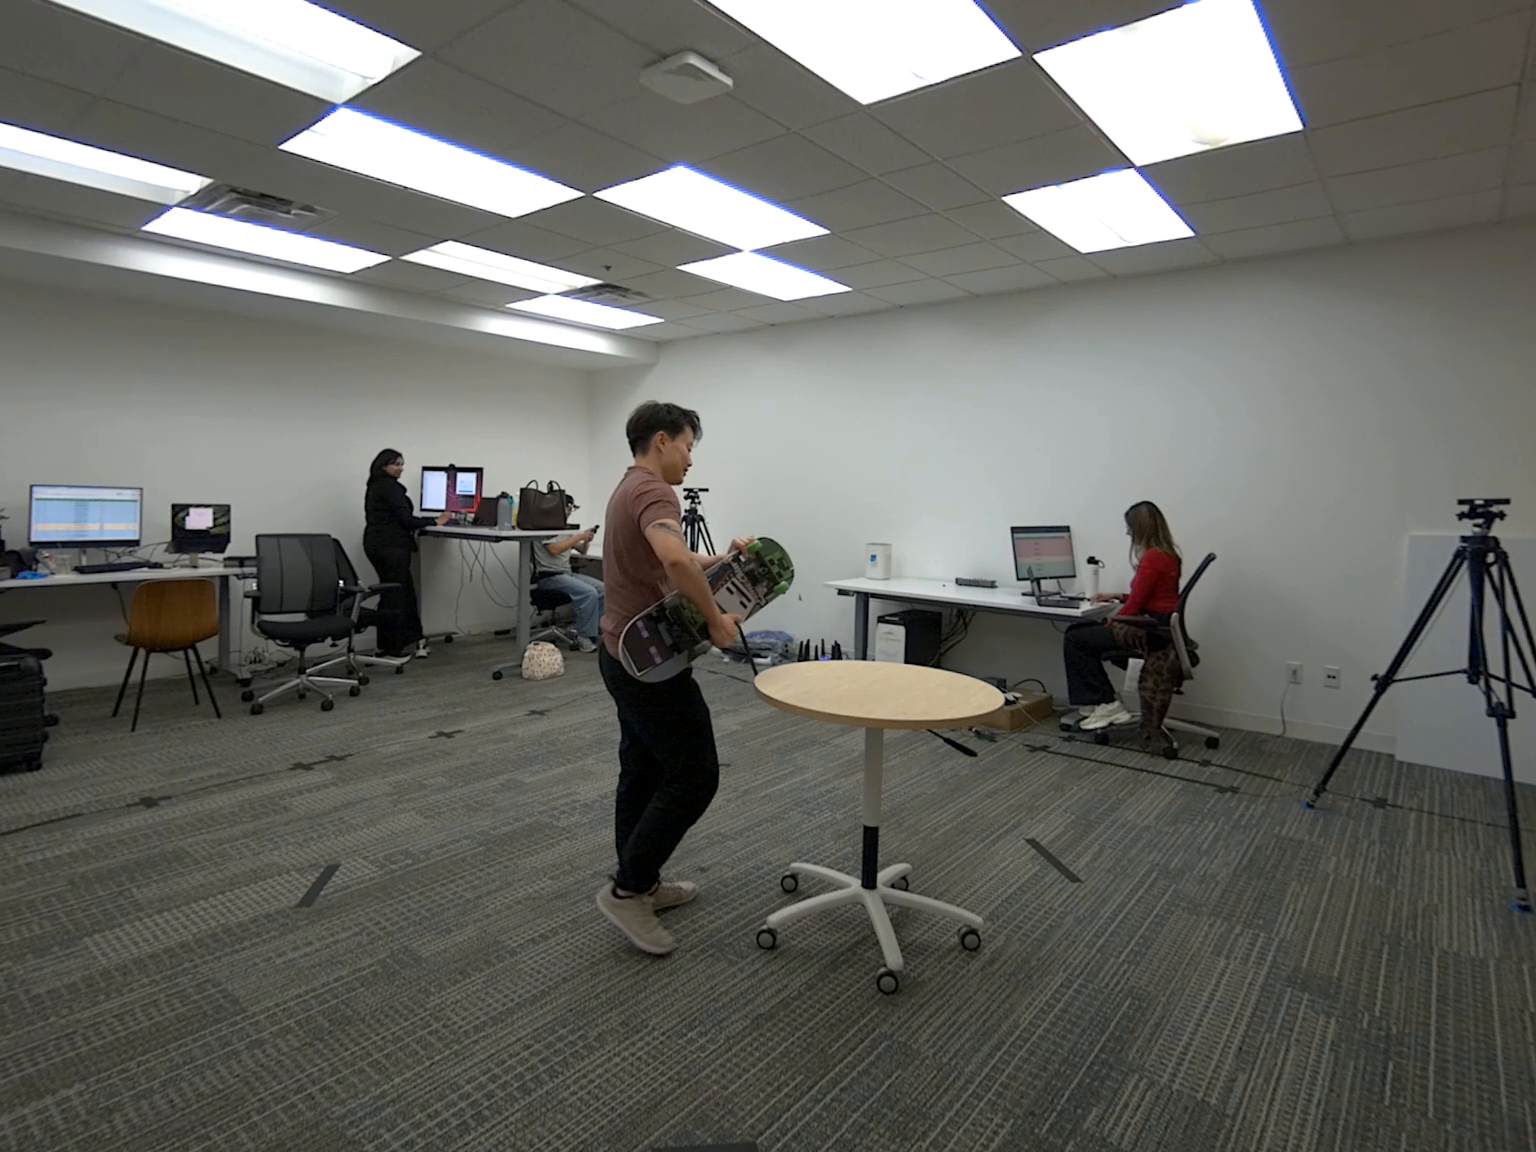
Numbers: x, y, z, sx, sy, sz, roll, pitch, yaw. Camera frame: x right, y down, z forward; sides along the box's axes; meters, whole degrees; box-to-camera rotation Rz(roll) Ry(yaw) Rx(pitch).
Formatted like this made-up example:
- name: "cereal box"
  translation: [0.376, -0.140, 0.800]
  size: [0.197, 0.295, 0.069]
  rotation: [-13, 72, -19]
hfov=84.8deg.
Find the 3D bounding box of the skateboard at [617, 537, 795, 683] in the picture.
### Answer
- name: "skateboard"
  translation: [-0.133, 0.070, 2.537]
  size: [0.111, 0.193, 0.777]
  rotation: [-31, 3, 45]
